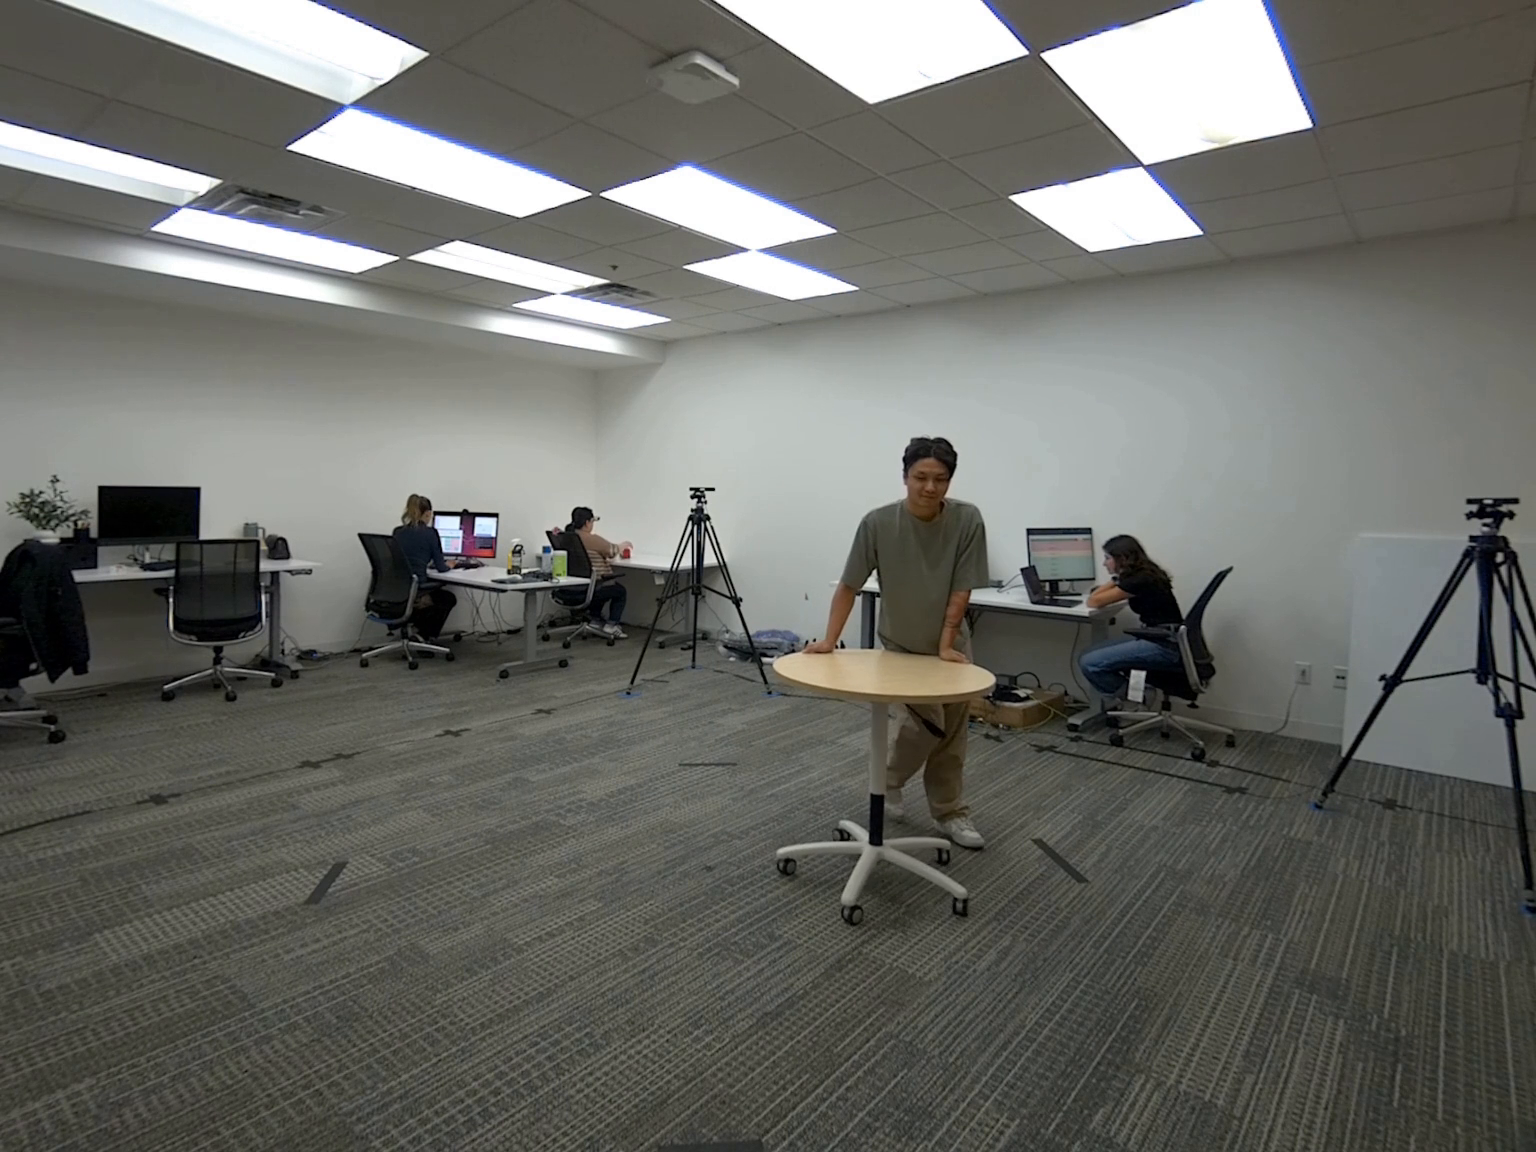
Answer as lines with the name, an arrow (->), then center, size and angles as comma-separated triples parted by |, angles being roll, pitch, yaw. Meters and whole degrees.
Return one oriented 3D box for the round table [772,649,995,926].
round table -> 0.361, 0.707, 3.019 | 0.784, 0.784, 0.789 | 2, 4, -2
